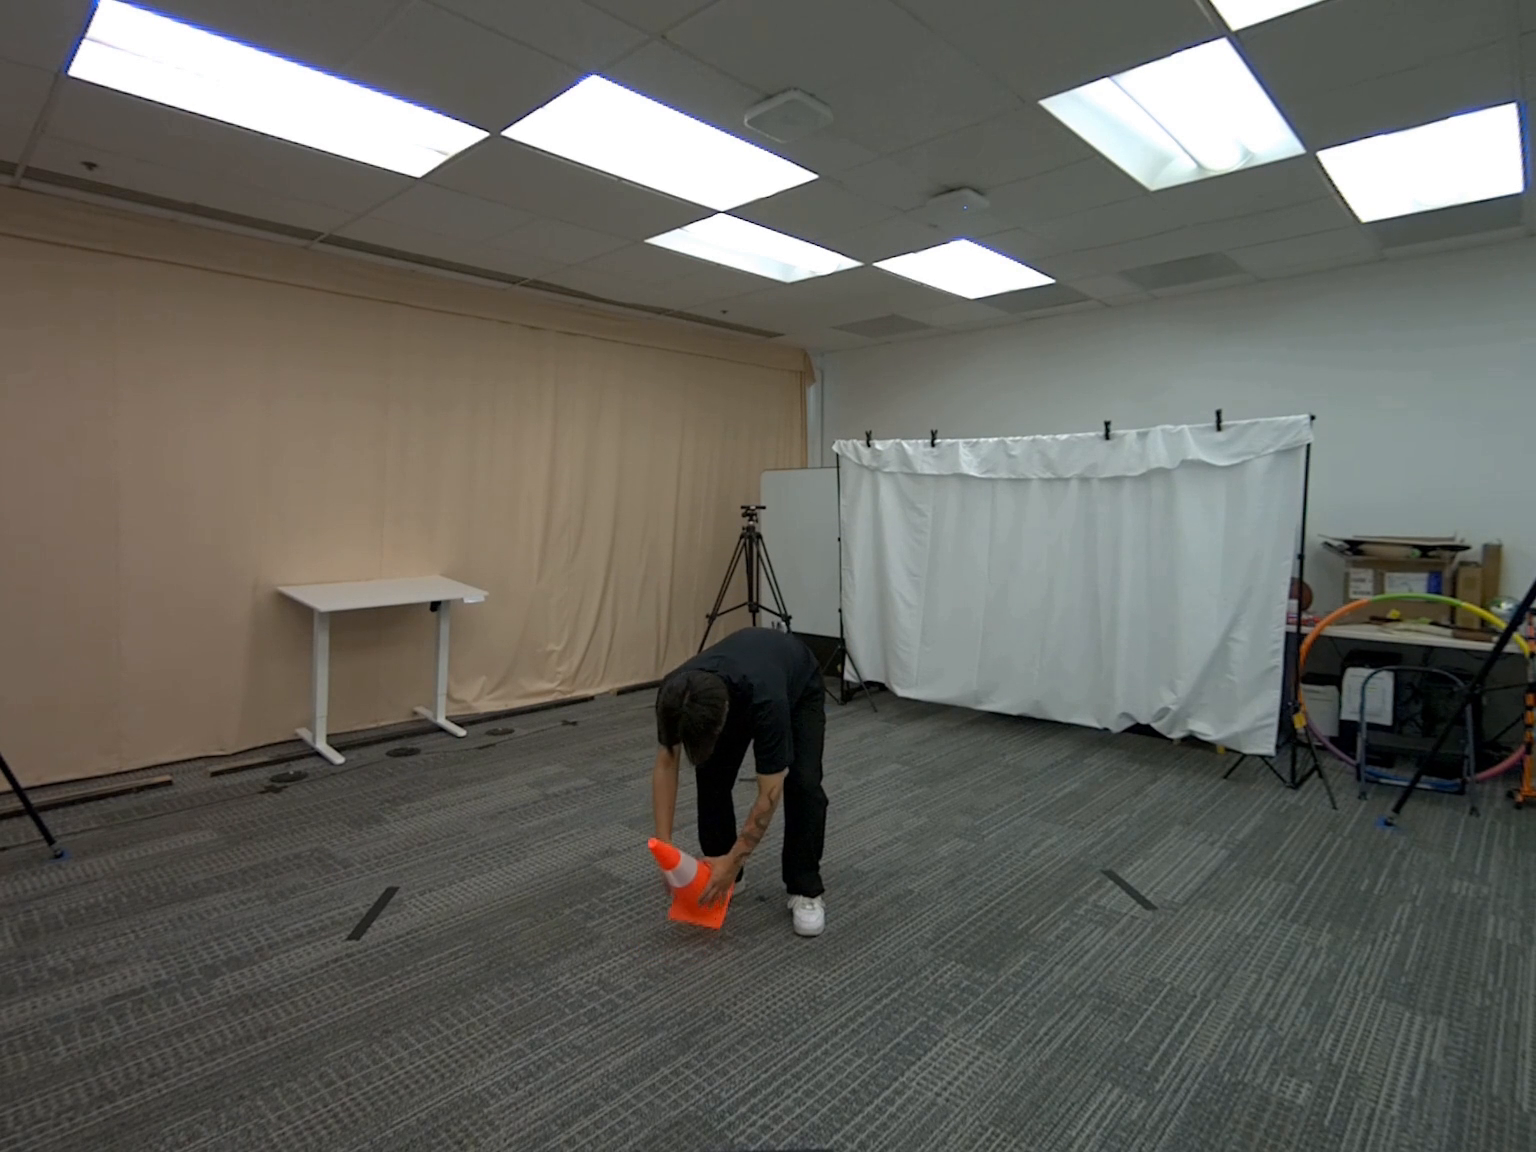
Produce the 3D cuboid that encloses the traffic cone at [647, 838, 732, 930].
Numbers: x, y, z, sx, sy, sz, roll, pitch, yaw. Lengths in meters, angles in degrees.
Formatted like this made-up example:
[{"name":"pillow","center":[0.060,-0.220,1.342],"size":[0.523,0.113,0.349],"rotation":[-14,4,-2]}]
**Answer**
[{"name":"traffic cone","center":[-0.268,0.895,2.601],"size":[0.209,0.206,0.371],"rotation":[-1,-42,31]}]
